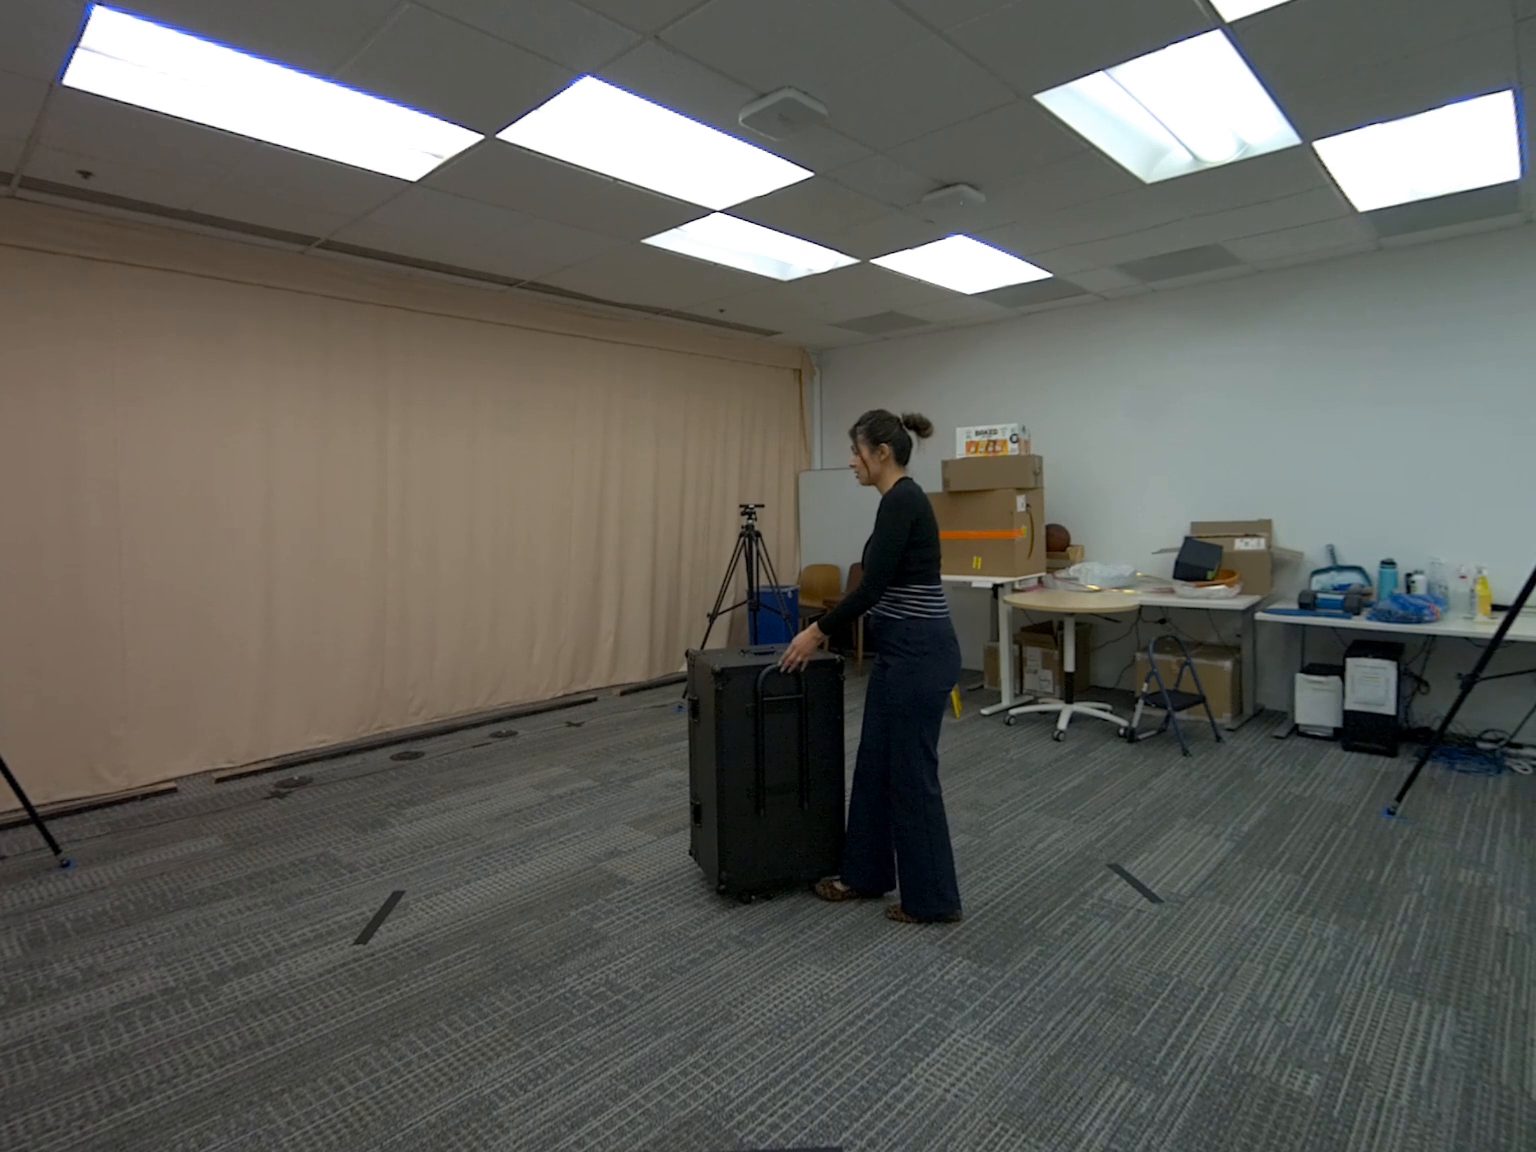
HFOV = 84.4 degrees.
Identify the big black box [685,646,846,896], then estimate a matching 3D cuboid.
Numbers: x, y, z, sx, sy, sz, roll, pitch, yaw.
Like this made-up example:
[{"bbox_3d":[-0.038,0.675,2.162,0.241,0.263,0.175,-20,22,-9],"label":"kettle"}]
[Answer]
[{"bbox_3d":[-0.014,0.643,3.068,0.511,0.860,0.404,-1,3,-19],"label":"big black box"}]
